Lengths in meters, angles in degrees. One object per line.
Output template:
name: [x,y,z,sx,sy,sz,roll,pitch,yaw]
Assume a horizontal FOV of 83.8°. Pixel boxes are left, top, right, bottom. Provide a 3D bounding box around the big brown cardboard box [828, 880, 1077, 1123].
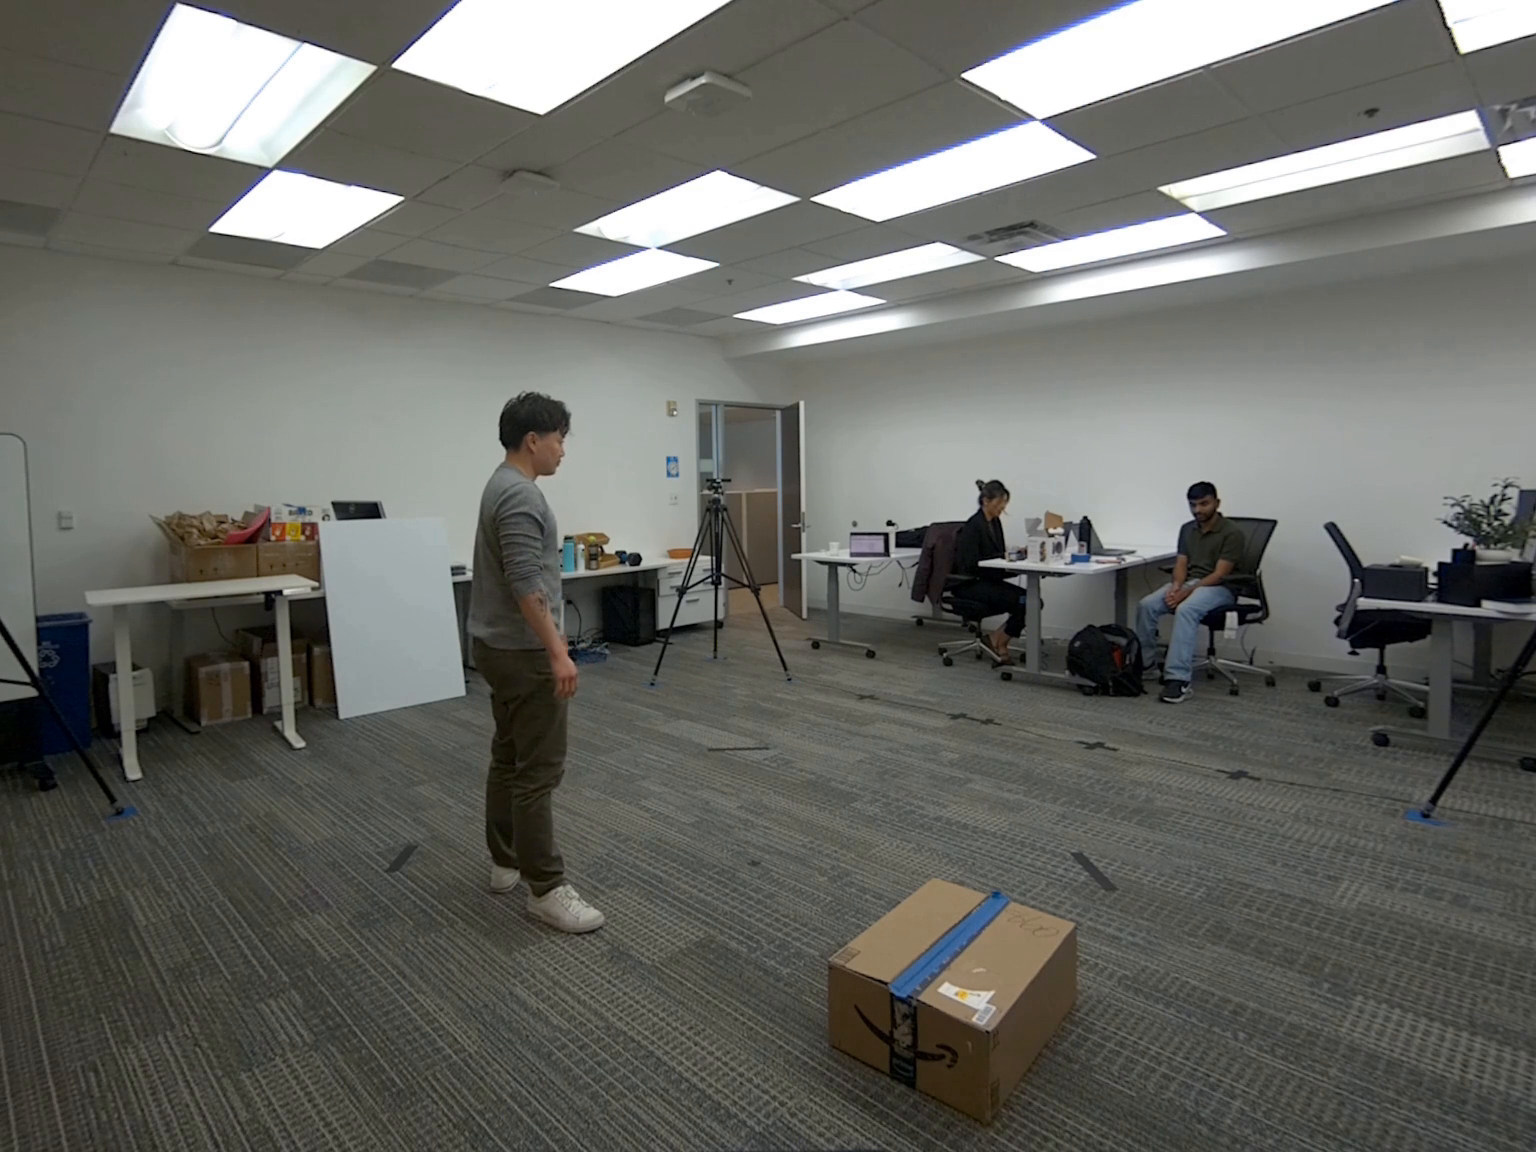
big brown cardboard box: [0.479,1.033,2.168,0.430,0.232,0.574,4,7,38]
